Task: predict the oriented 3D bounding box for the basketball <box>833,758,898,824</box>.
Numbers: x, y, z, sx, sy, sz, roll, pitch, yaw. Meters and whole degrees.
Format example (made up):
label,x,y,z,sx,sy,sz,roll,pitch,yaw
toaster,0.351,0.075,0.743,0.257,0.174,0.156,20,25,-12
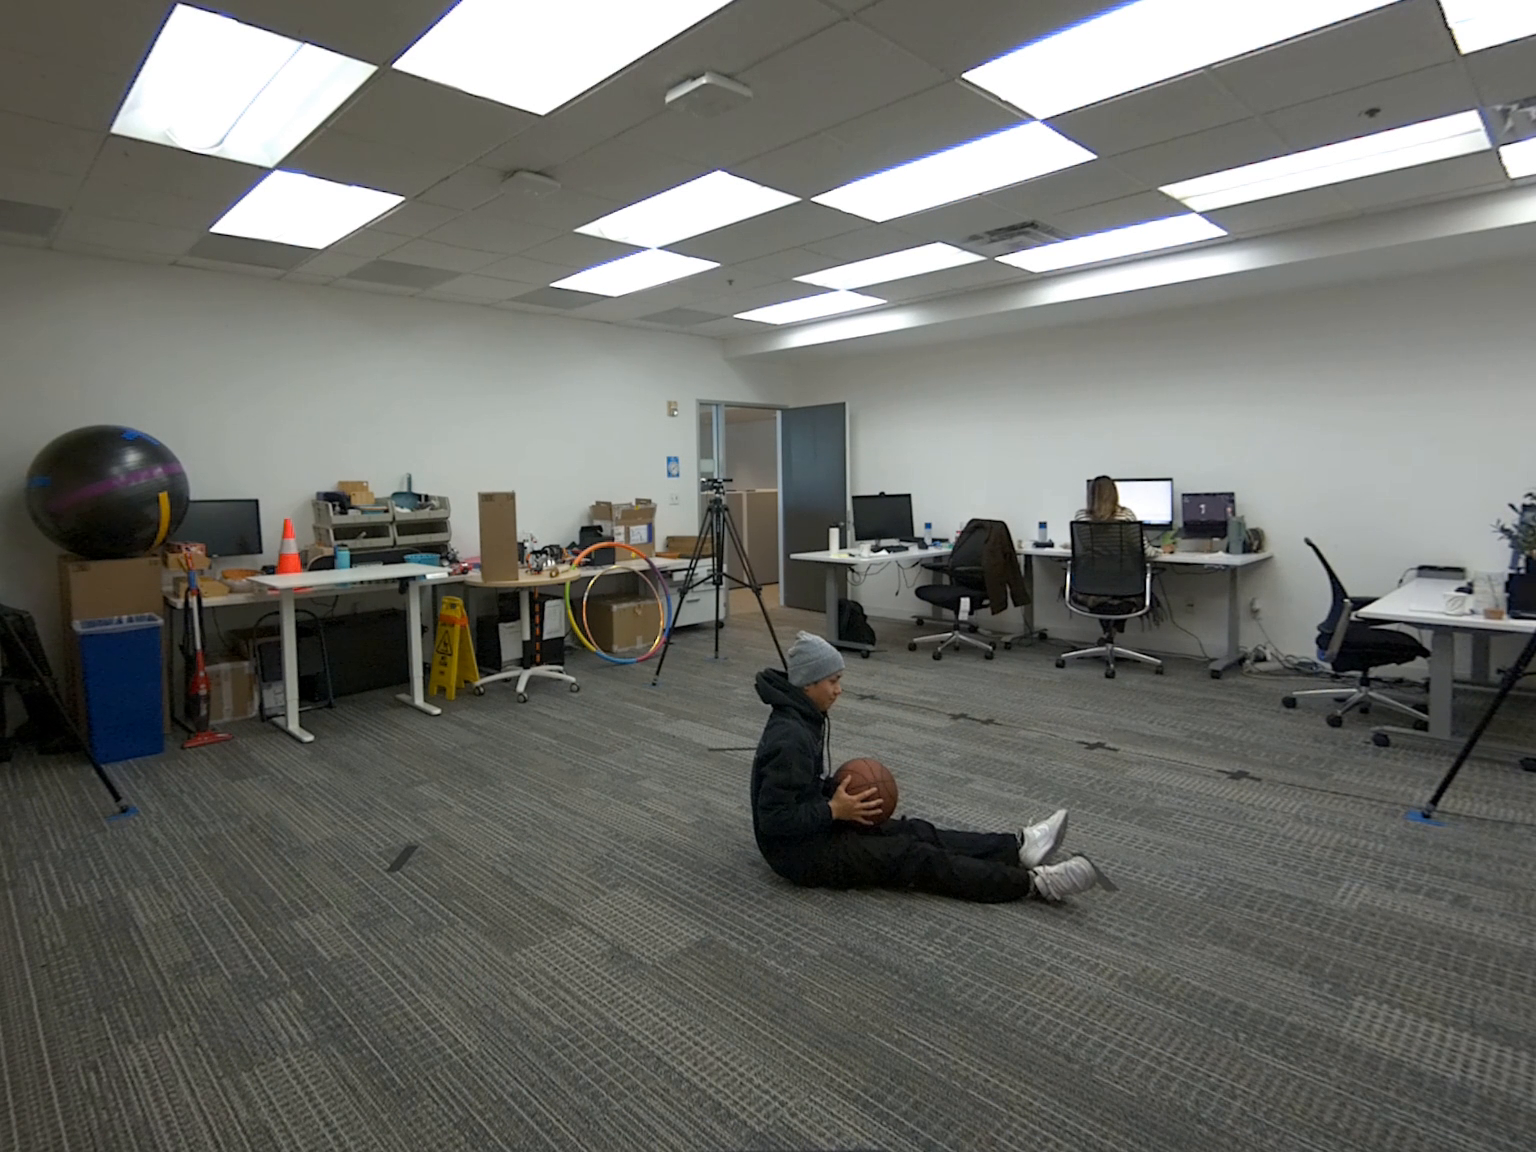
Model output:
label,x,y,z,sx,sy,sz,roll,pitch,yaw
basketball,0.335,0.759,3.007,0.236,0.235,0.237,-1,5,-2
